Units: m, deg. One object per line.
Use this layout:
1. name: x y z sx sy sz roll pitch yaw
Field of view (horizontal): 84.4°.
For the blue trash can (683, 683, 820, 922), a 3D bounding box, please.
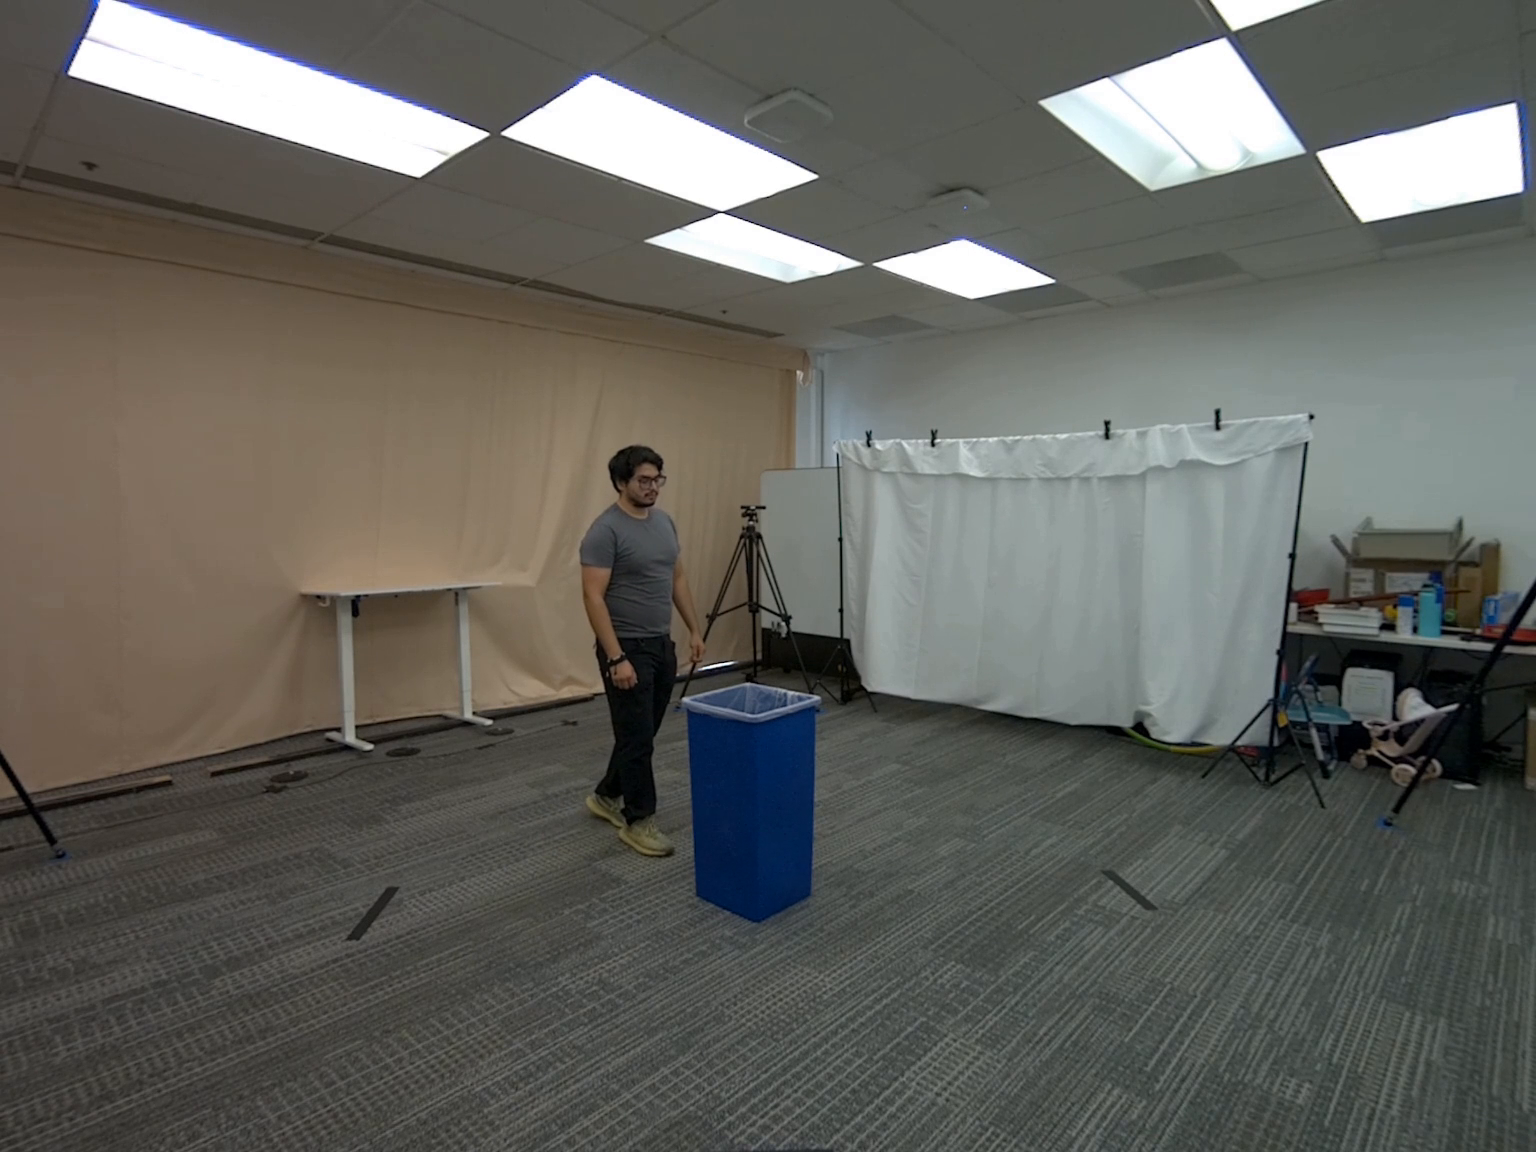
1. blue trash can: -0.044 0.786 2.991 0.386 0.712 0.366 2 4 42
